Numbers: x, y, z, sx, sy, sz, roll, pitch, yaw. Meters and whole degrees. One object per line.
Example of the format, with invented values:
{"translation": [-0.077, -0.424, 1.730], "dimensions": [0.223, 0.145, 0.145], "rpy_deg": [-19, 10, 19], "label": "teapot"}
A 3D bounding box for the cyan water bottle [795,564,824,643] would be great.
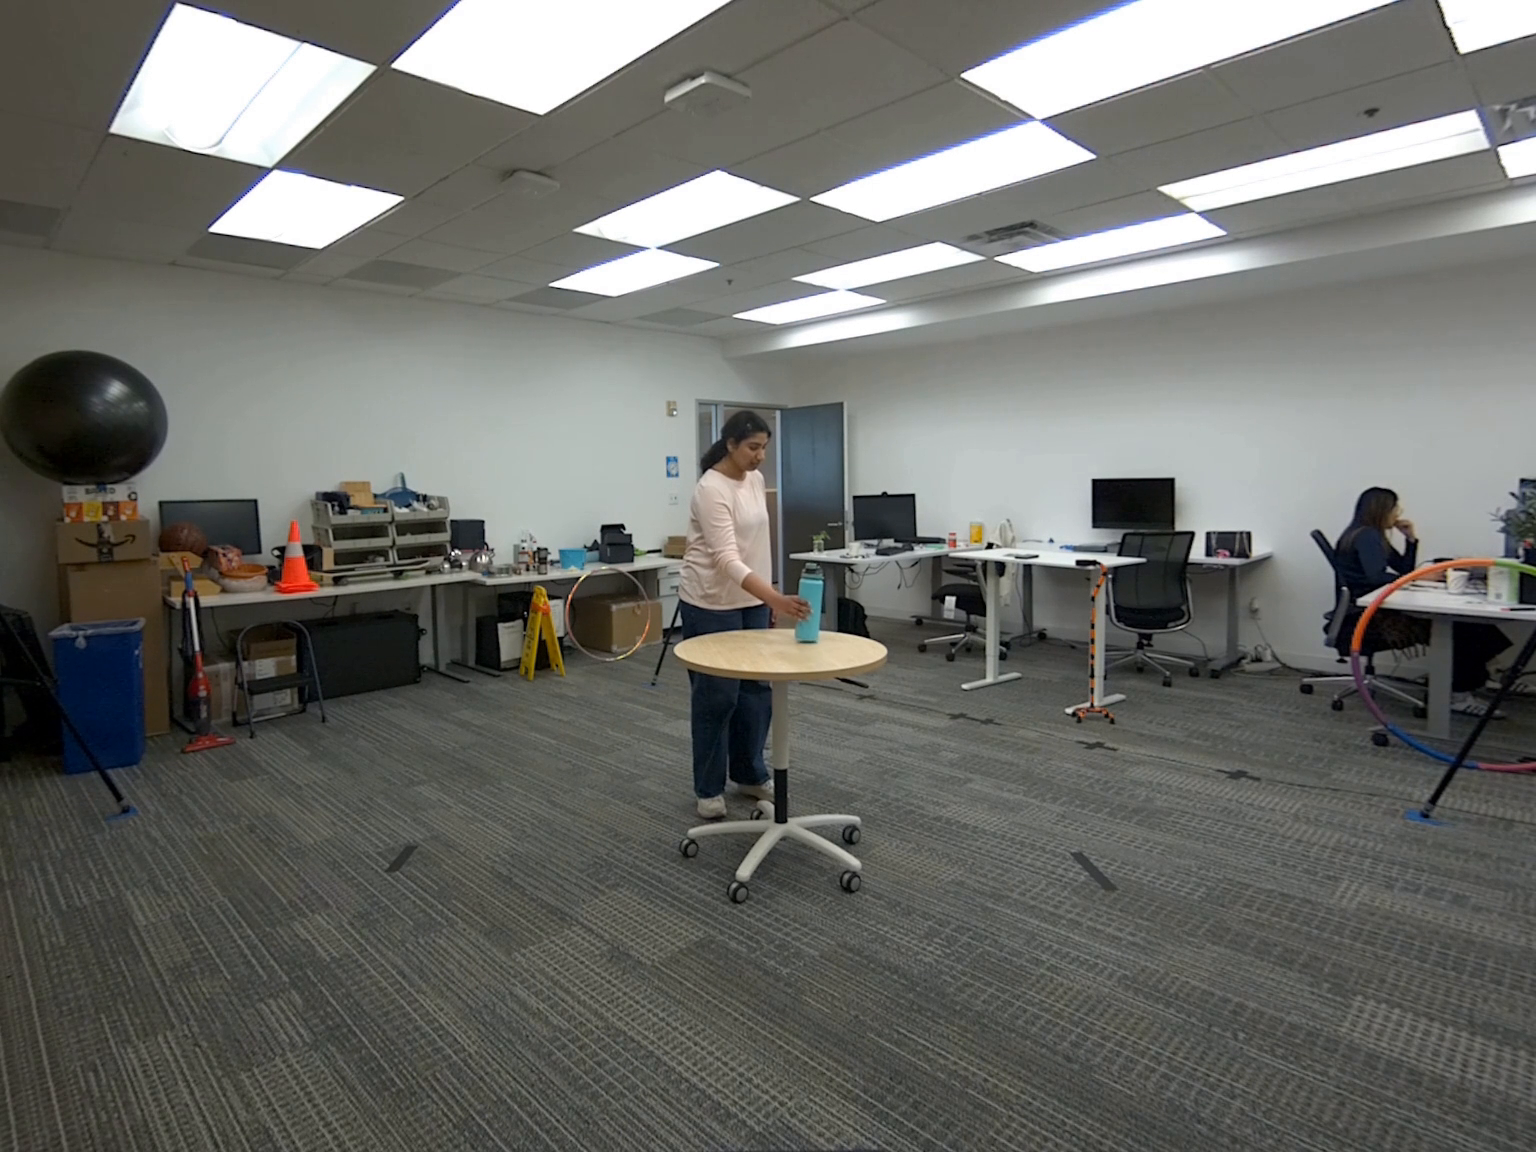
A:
{"translation": [0.160, 0.093, 3.198], "dimensions": [0.092, 0.282, 0.093], "rpy_deg": [5, 3, -2], "label": "cyan water bottle"}
